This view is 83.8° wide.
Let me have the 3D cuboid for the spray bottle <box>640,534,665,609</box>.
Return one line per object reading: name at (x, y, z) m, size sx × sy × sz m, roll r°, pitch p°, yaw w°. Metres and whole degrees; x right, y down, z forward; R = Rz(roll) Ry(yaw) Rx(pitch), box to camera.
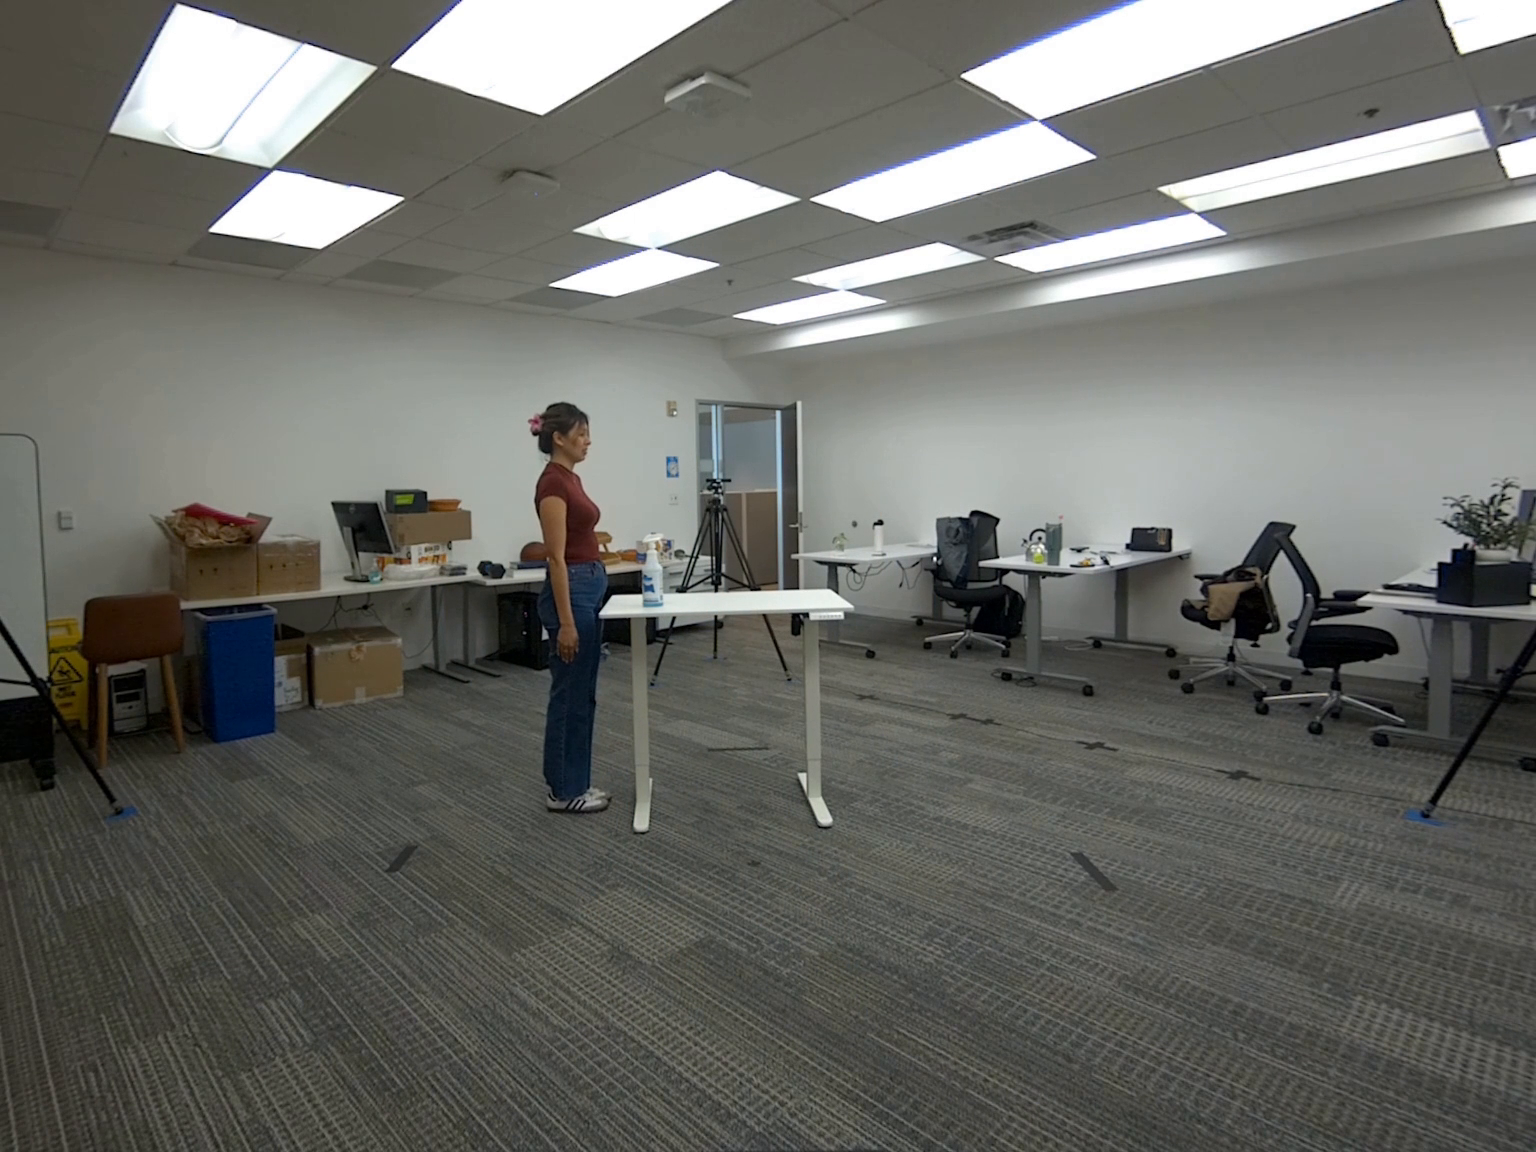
spray bottle at (-0.478, -0.023, 3.524) m, size 0.090 × 0.297 × 0.087 m, roll 1°, pitch 2°, yaw -4°
